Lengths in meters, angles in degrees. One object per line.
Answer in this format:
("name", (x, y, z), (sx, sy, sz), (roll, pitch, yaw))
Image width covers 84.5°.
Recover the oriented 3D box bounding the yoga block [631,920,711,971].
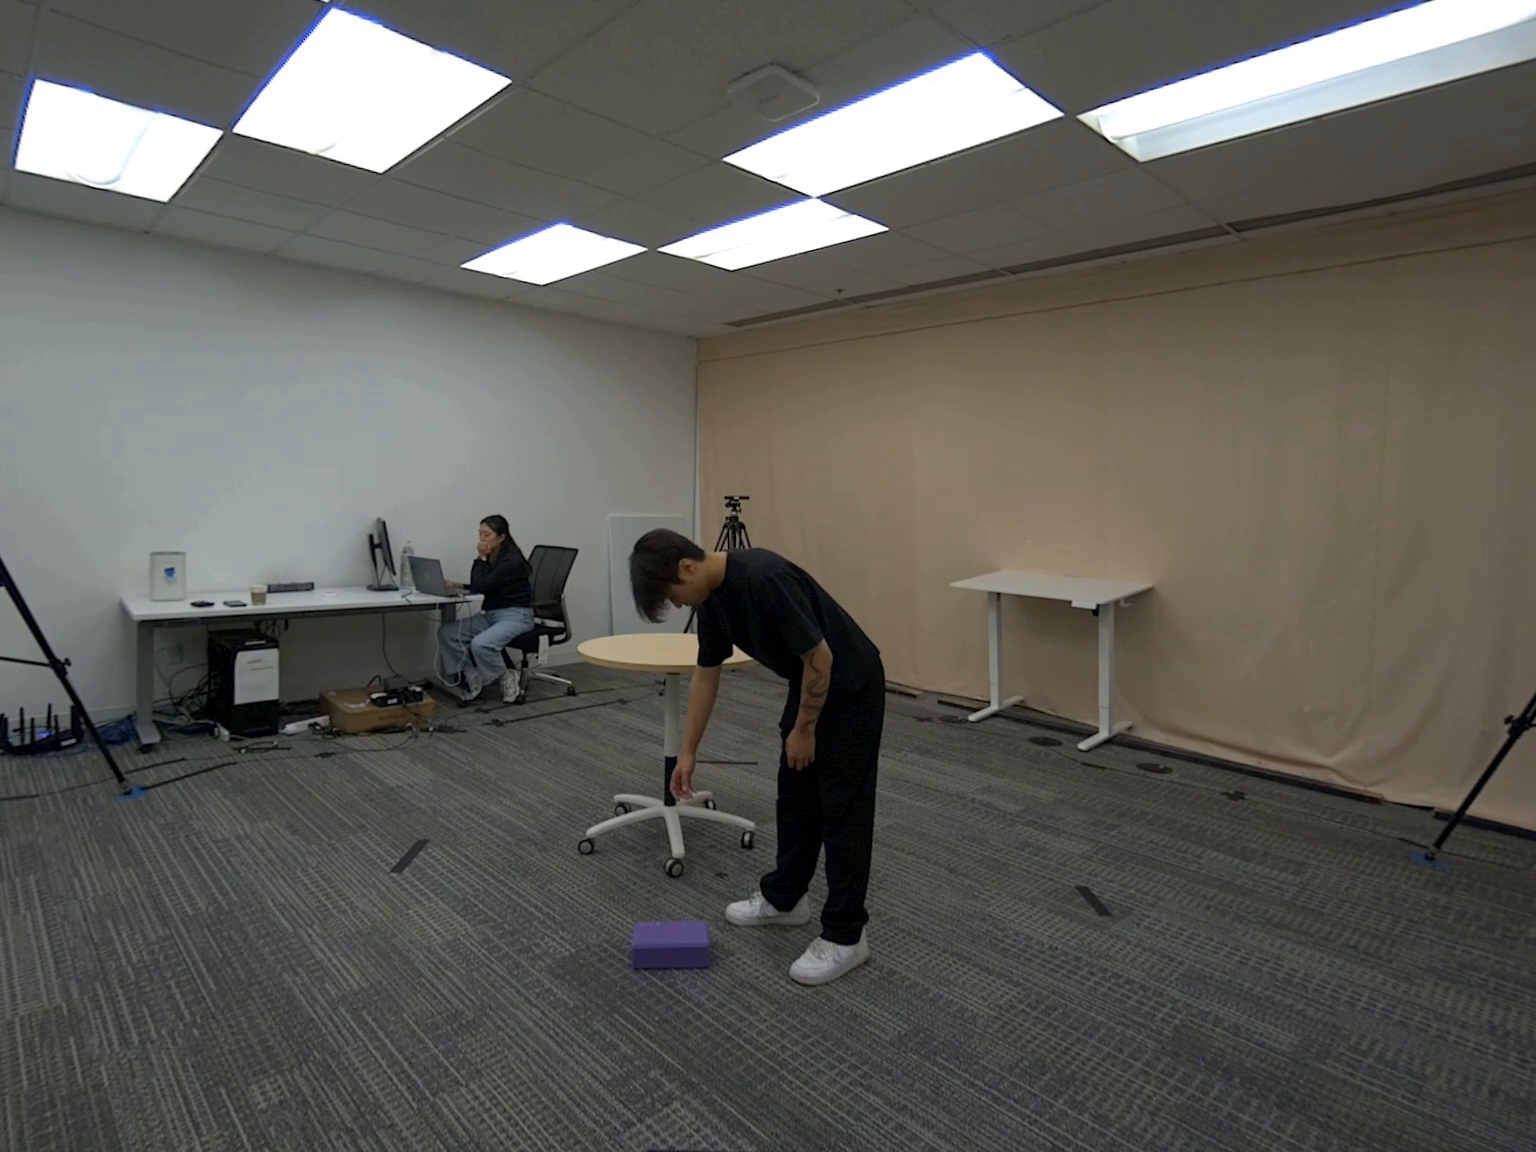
("yoga block", (-0.293, 1.109, 2.539), (0.228, 0.076, 0.150), (0, 4, -5))
